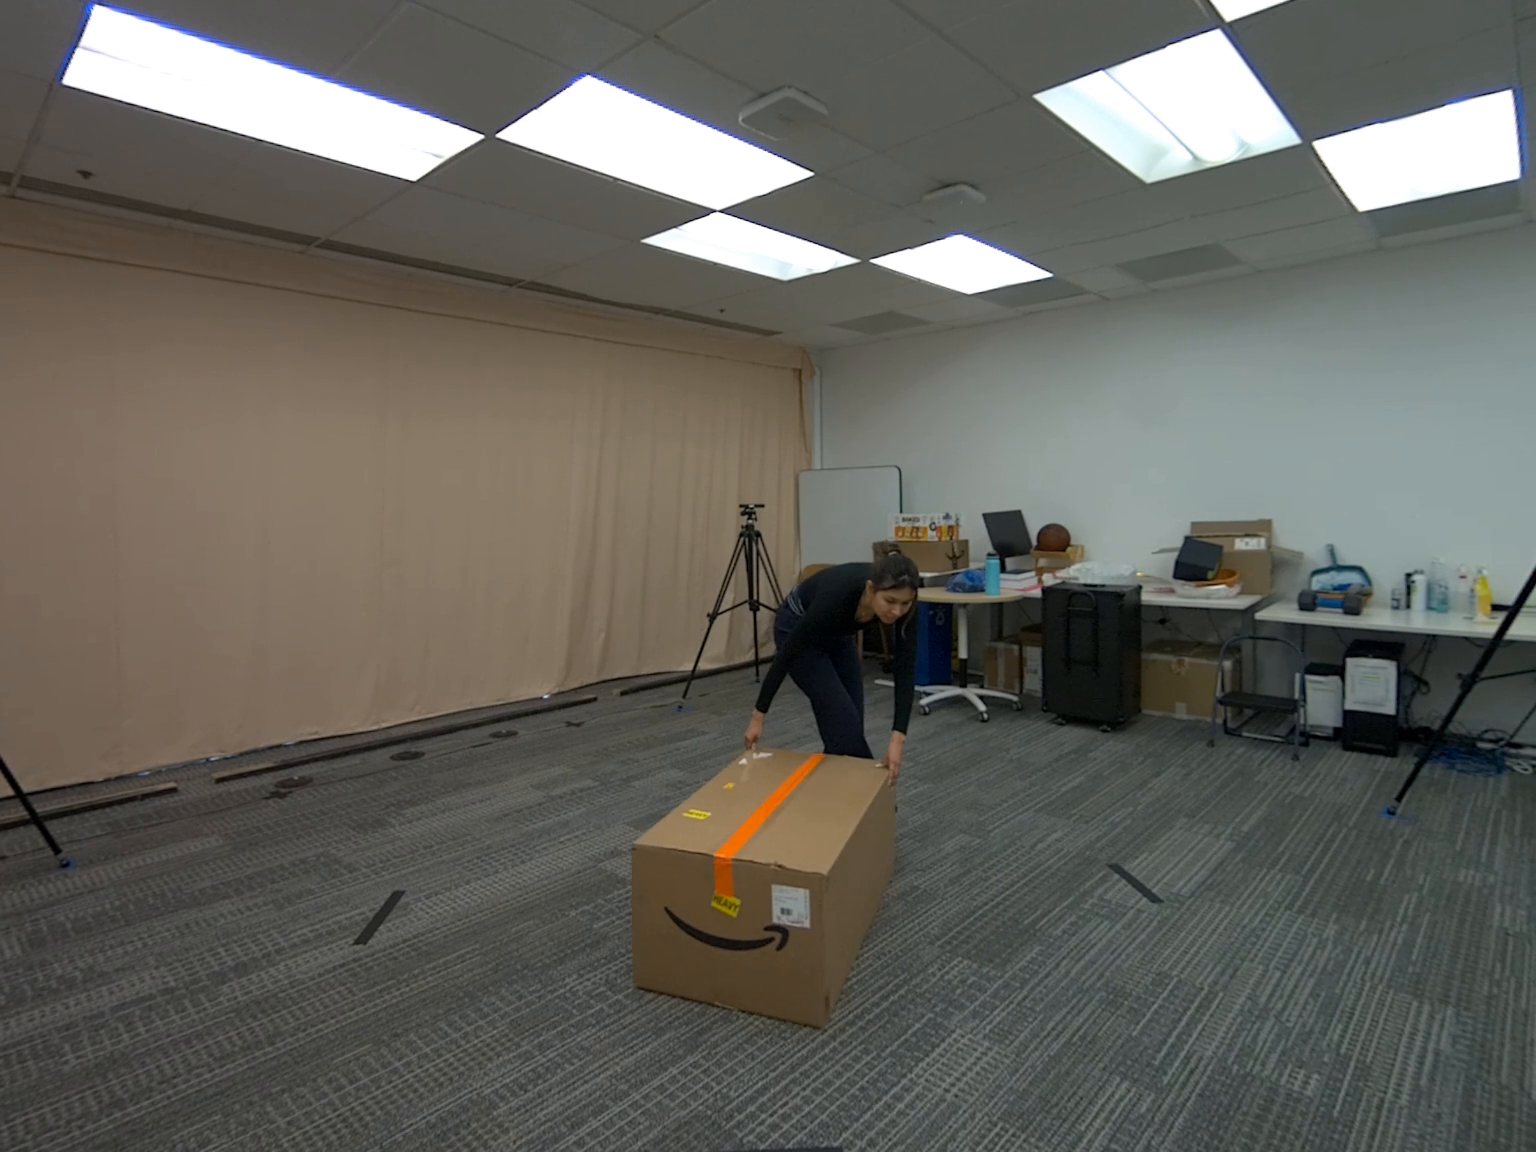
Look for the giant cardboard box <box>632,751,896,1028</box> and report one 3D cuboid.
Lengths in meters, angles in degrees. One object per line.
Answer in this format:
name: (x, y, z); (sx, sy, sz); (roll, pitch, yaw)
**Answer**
giant cardboard box: (0.043, 0.939, 2.783); (0.590, 0.425, 1.006); (1, 5, 20)
